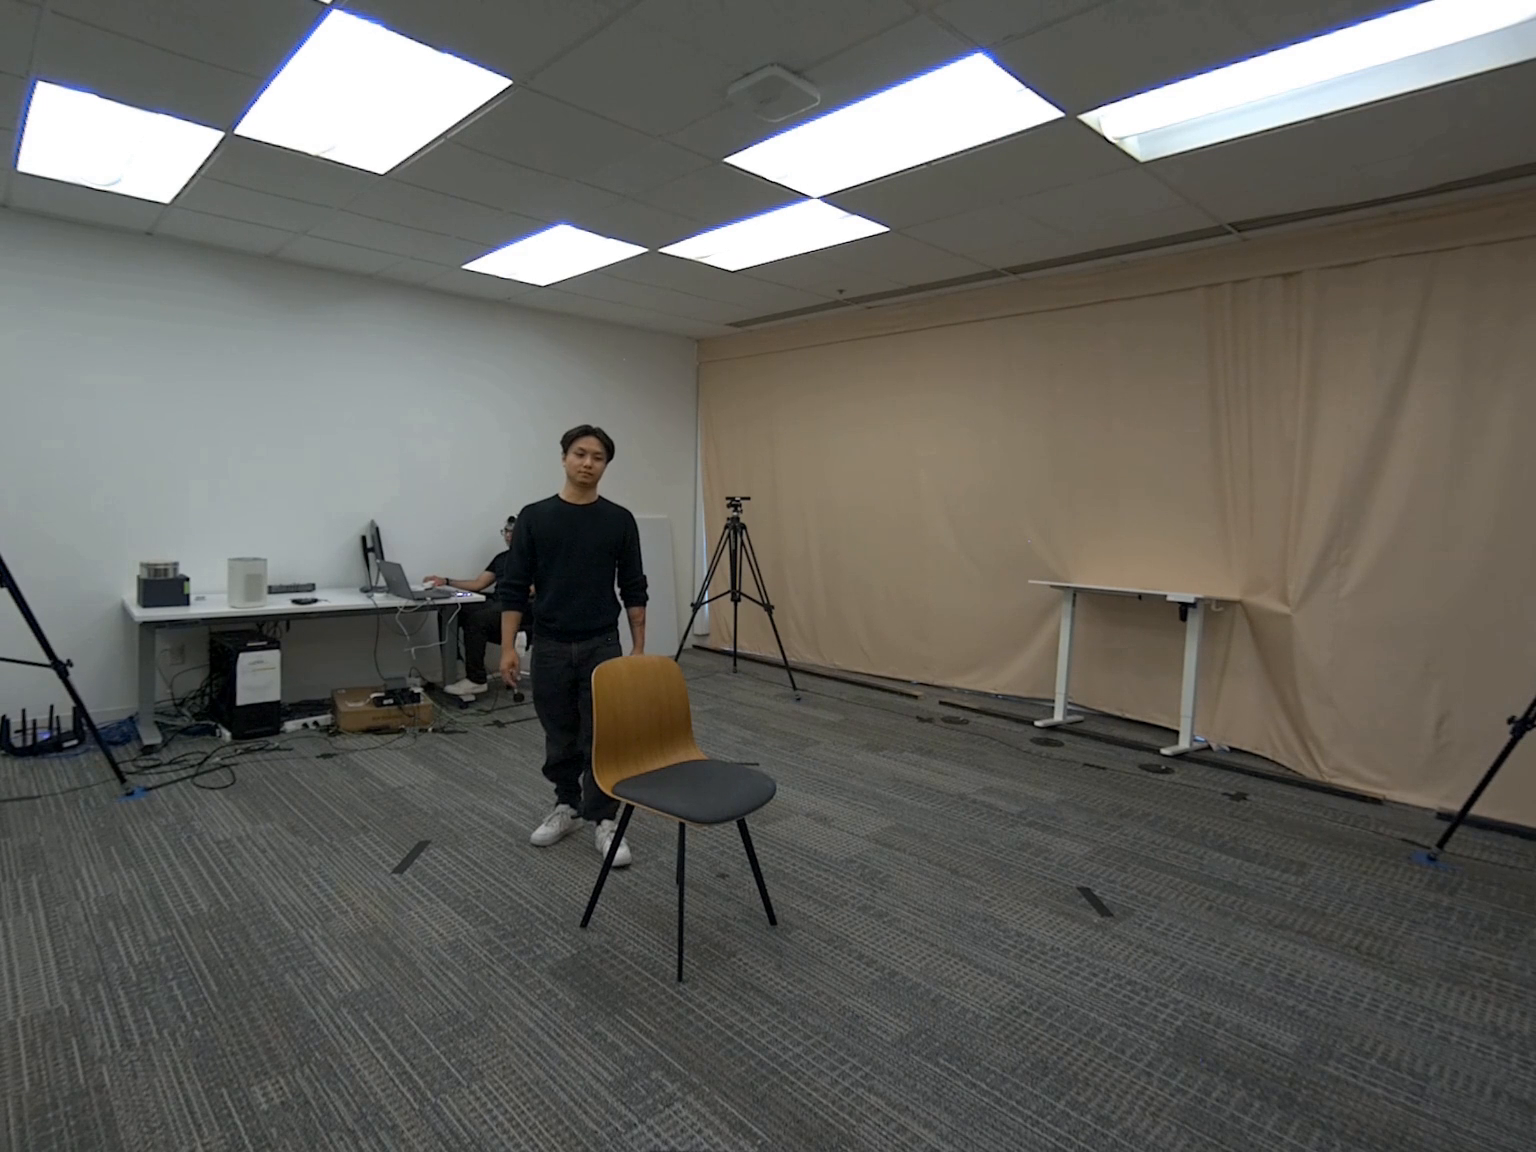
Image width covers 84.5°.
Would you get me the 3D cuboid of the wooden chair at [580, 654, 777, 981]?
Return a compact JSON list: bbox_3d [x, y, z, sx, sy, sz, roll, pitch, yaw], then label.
[{"bbox_3d":[-0.275,0.712,2.693,0.535,0.877,0.467,-2,0,40],"label":"wooden chair"}]
